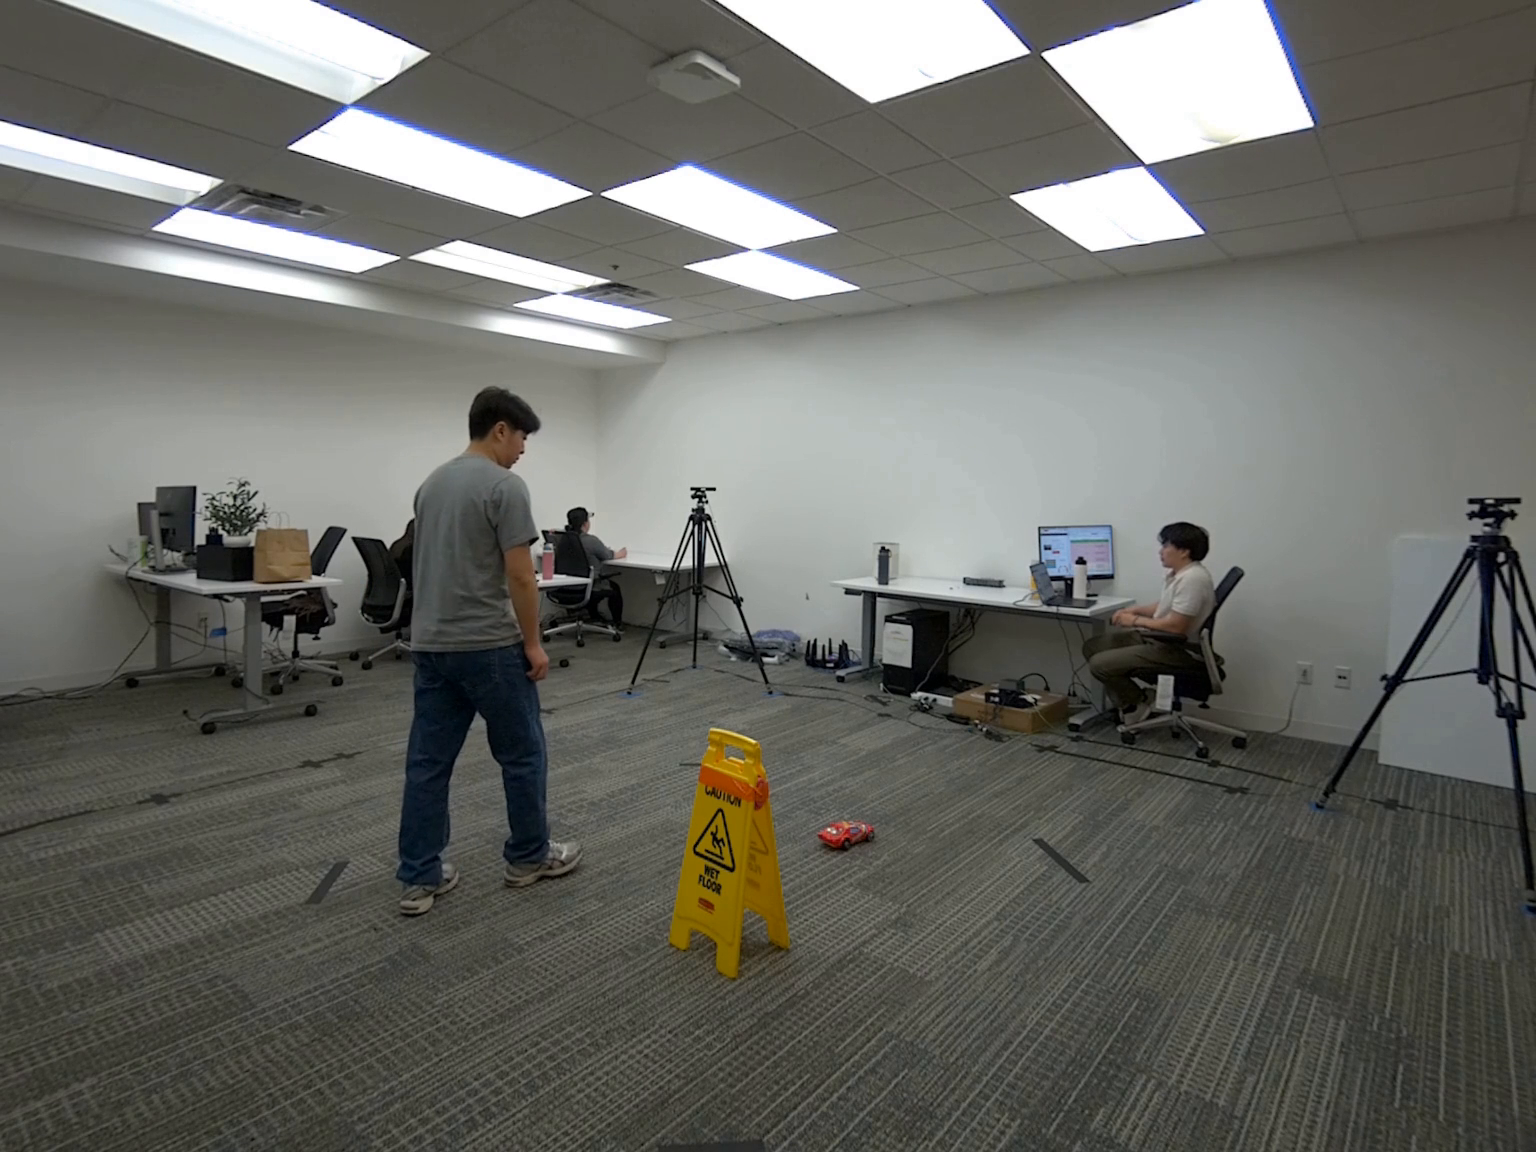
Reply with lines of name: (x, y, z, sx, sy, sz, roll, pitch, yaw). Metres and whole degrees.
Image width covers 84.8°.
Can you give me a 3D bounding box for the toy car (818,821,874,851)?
toy car: (0.297, 1.019, 3.366, 0.245, 0.083, 0.135, 12, -2, -40)
